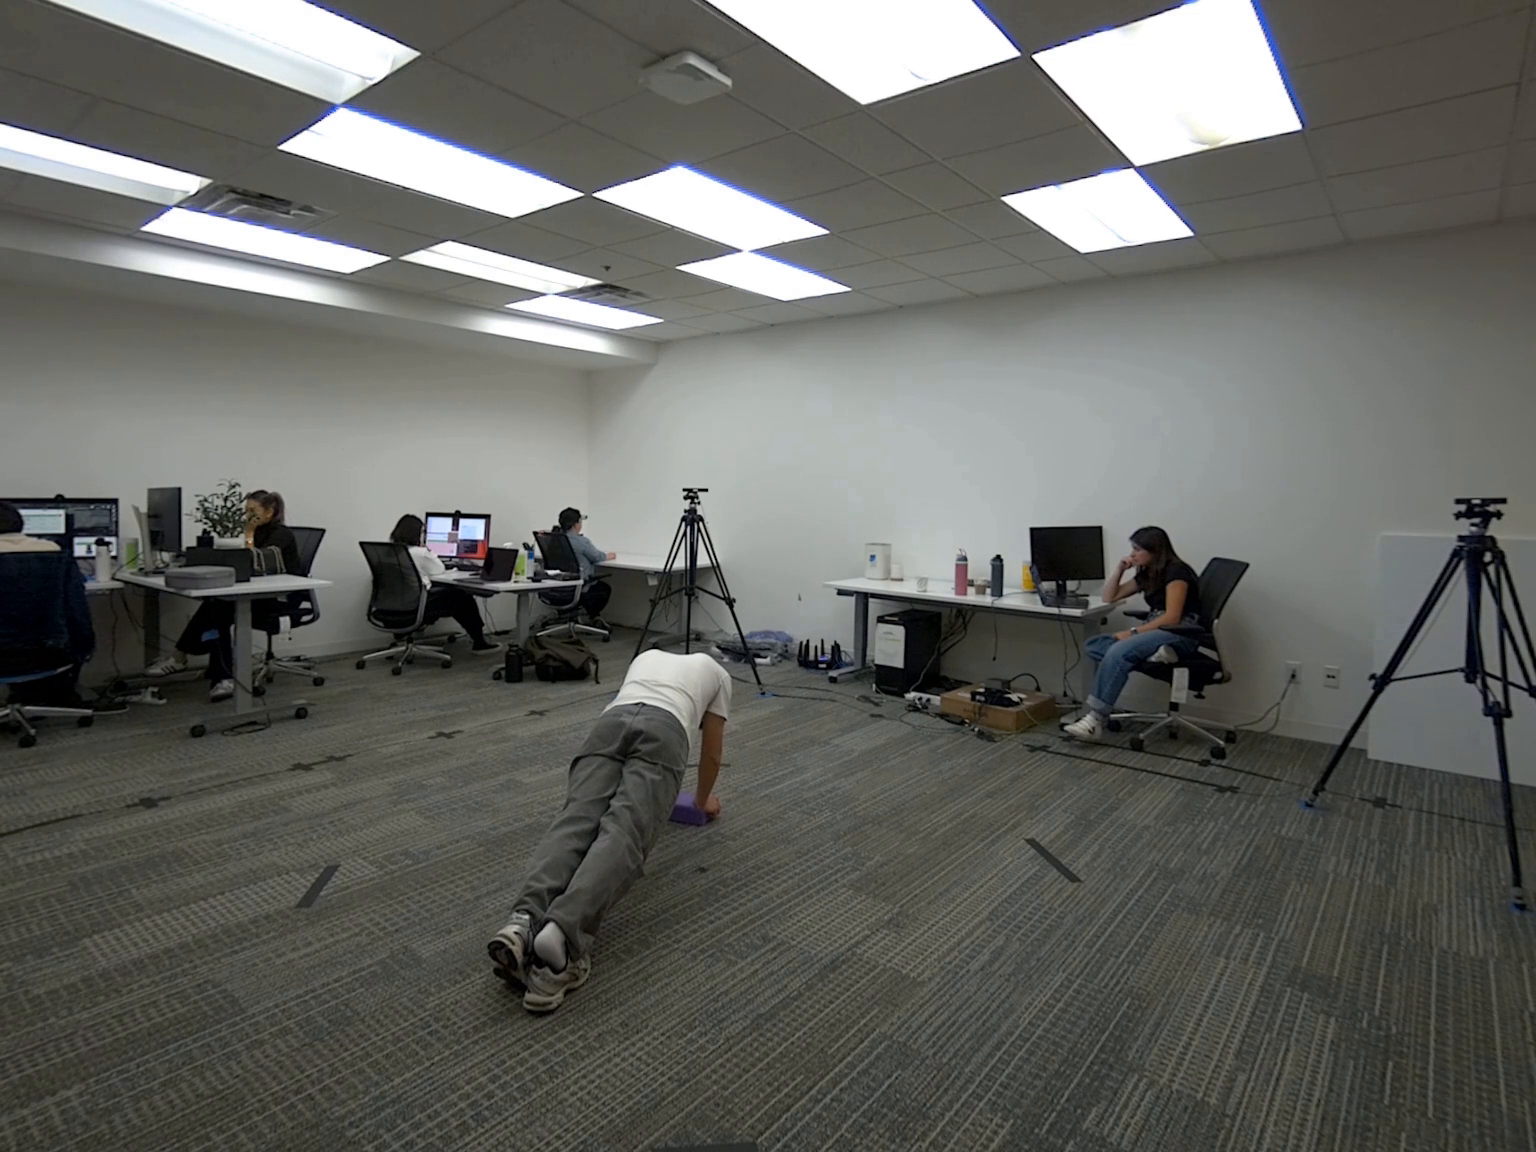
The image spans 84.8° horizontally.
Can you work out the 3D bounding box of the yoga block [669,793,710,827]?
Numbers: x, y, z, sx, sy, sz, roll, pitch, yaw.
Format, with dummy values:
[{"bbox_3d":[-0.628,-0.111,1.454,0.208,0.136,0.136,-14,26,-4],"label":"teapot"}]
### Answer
[{"bbox_3d":[-0.361,0.978,3.613,0.234,0.076,0.146,2,3,19],"label":"yoga block"}]
